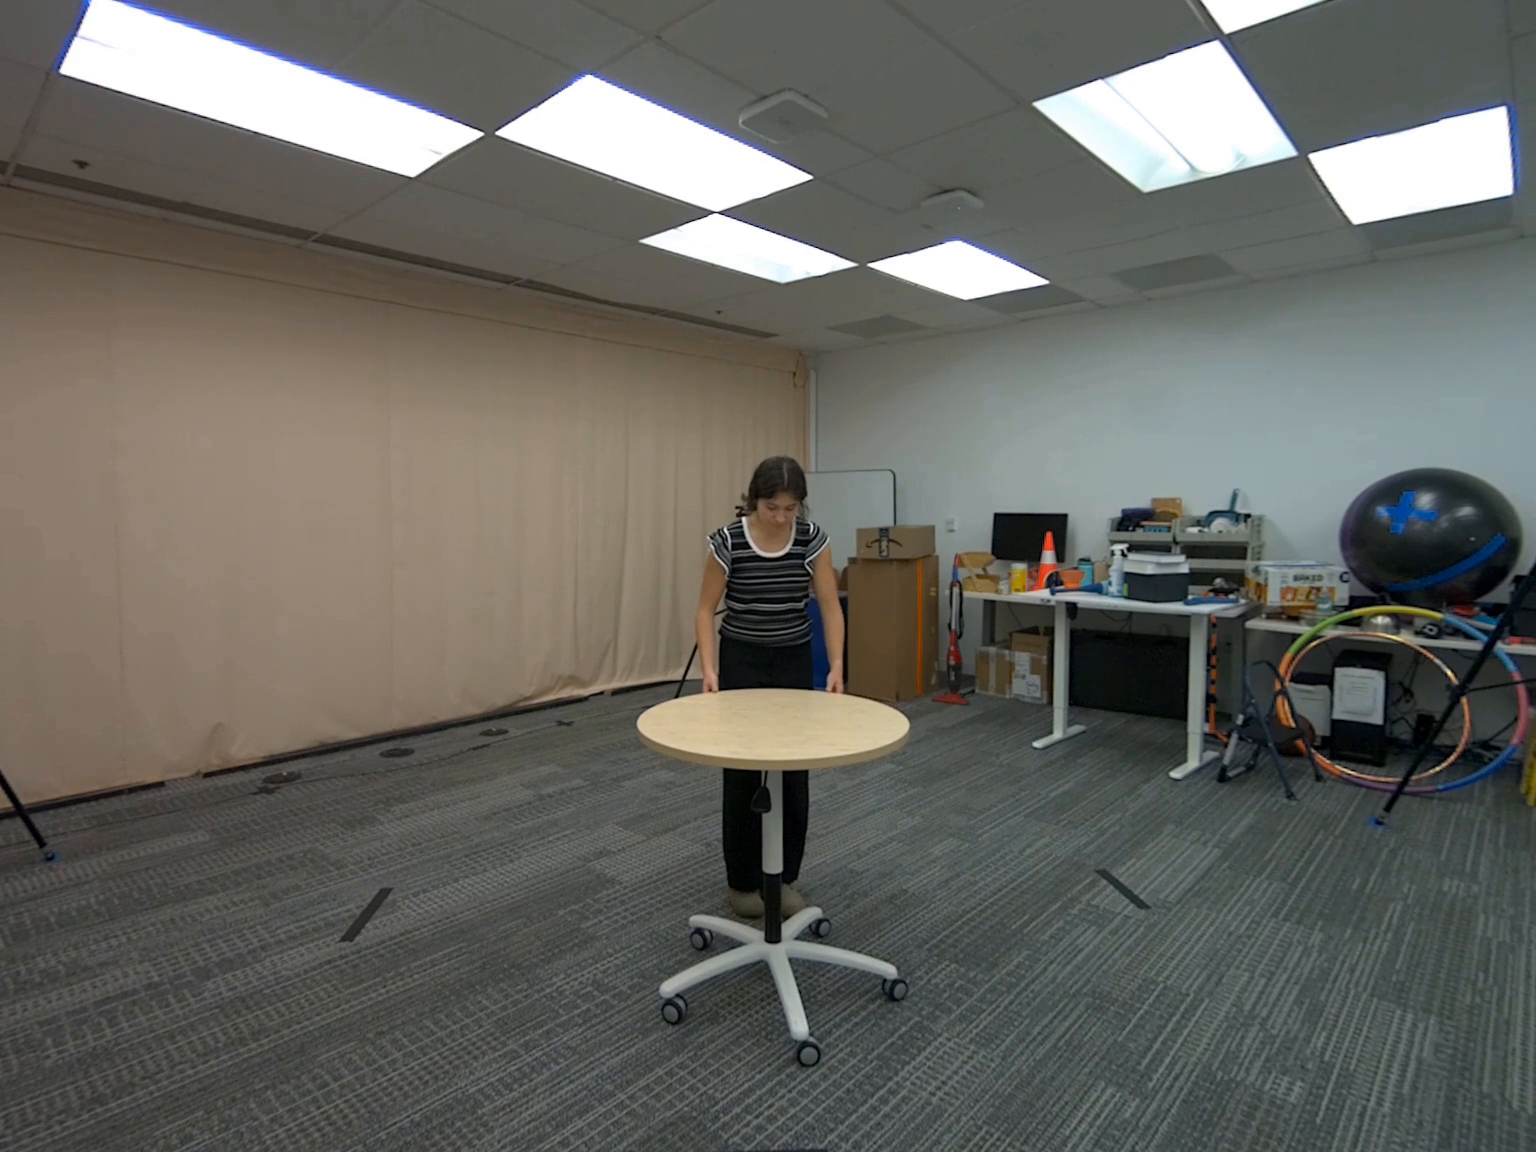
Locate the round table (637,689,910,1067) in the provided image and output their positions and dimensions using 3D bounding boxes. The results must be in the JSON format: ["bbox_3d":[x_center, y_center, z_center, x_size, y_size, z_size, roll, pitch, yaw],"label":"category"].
[{"bbox_3d":[0.011,0.792,2.431,0.784,0.785,0.788,0,4,-2],"label":"round table"}]
